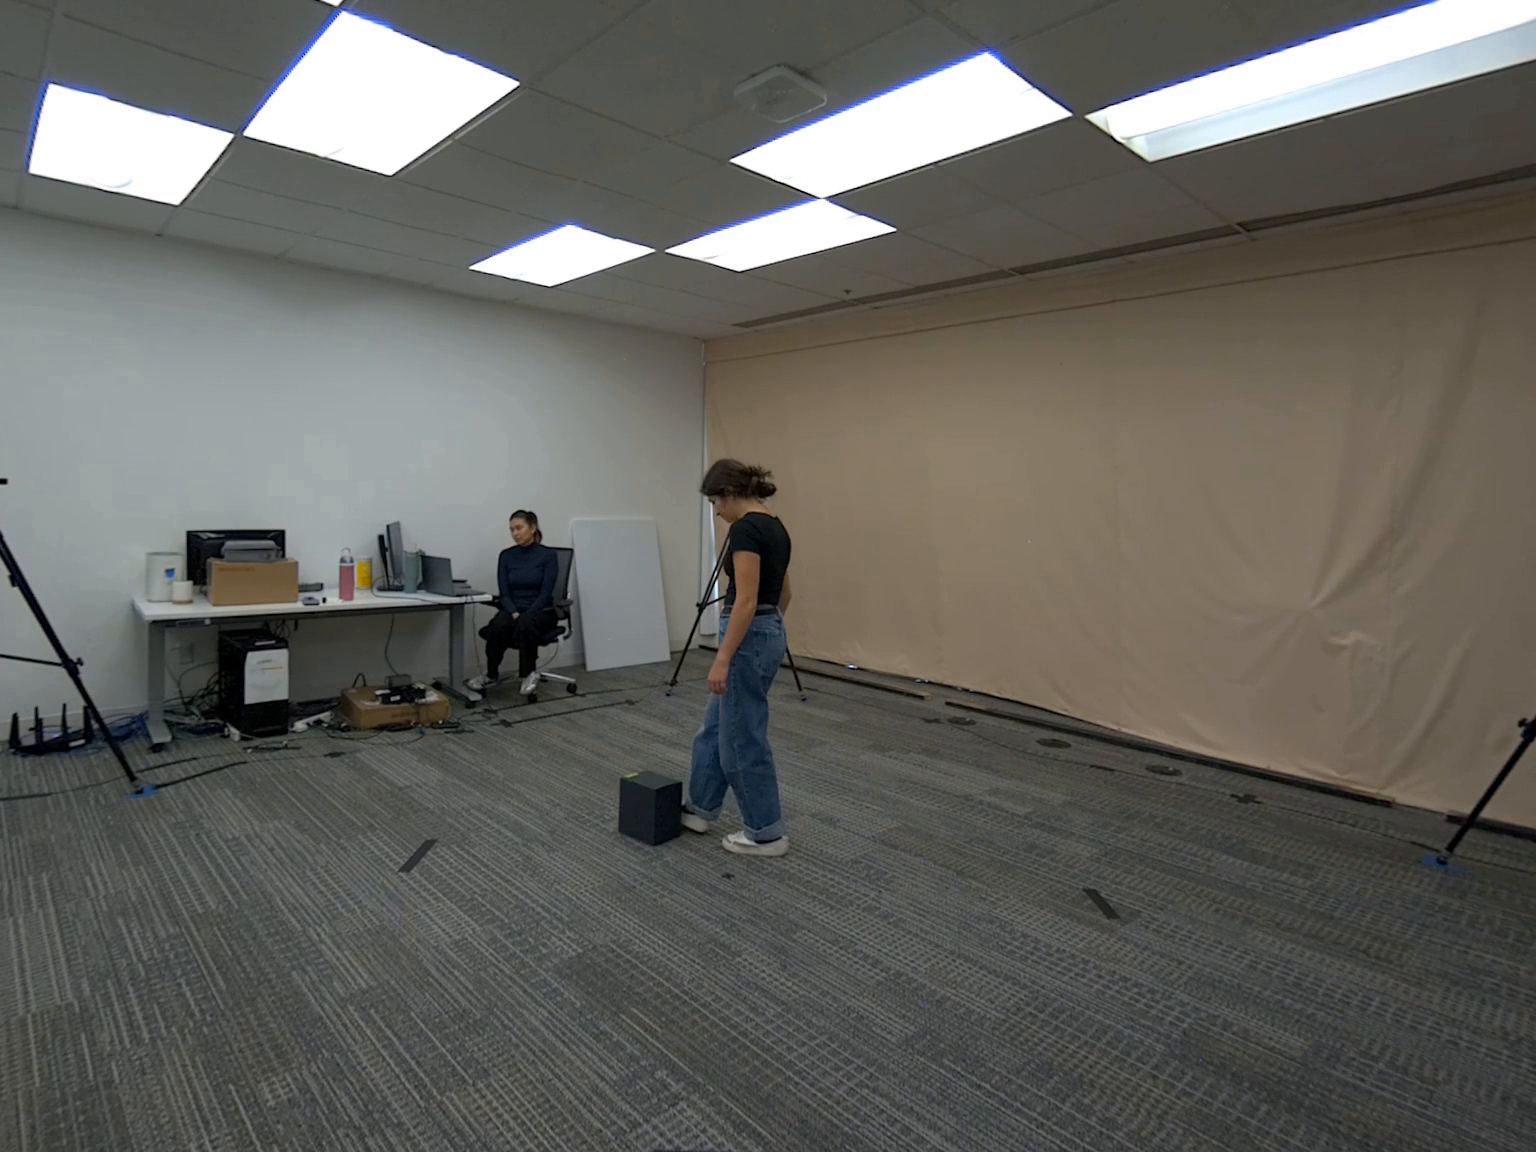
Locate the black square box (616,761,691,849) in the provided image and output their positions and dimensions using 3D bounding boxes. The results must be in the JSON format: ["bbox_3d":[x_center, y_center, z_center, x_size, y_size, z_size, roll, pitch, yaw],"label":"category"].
[{"bbox_3d":[-0.484,0.943,3.464,0.222,0.227,0.152,4,4,40],"label":"black square box"}]
